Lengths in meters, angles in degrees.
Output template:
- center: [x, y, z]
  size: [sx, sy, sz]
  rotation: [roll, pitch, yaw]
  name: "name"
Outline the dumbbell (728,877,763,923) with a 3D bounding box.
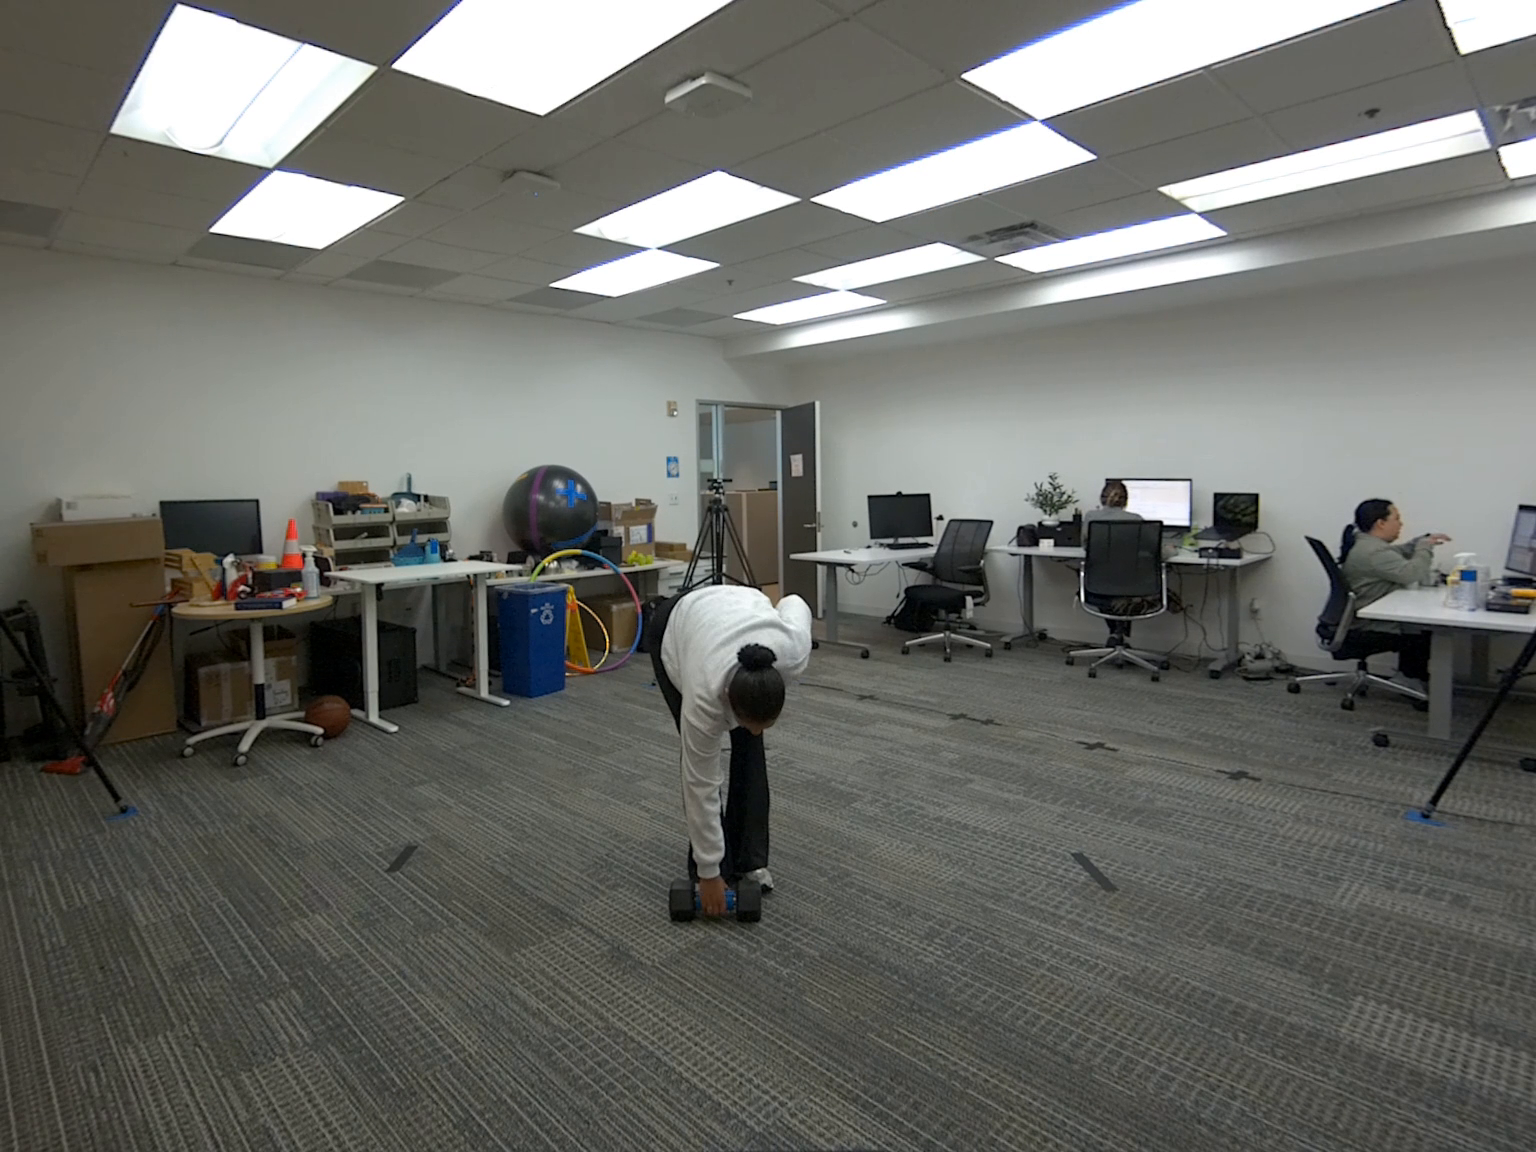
- center: [-0.166, 1.038, 2.730]
  size: [0.294, 0.125, 0.106]
  rotation: [-1, -26, 2]
  name: "dumbbell"
